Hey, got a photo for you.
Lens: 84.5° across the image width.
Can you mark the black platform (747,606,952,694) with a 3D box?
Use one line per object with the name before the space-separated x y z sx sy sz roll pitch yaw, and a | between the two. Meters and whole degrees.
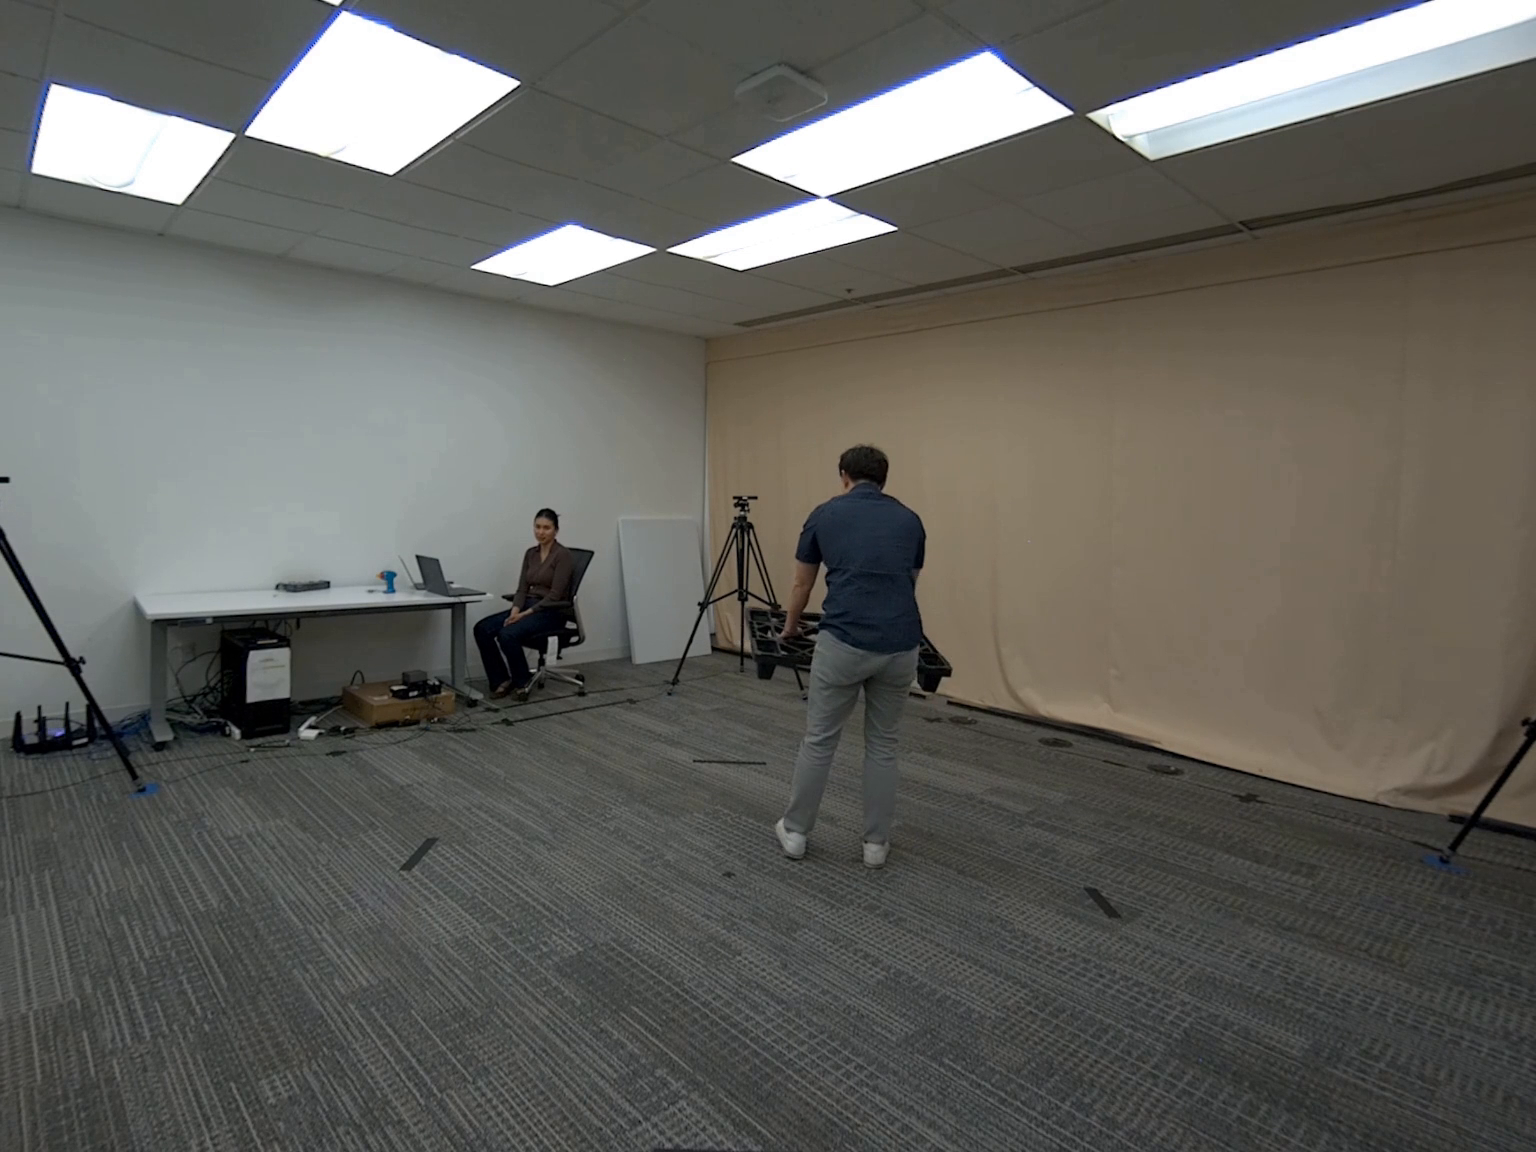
black platform | 0.309 0.328 3.620 0.803 0.142 0.613 4 16 -4
